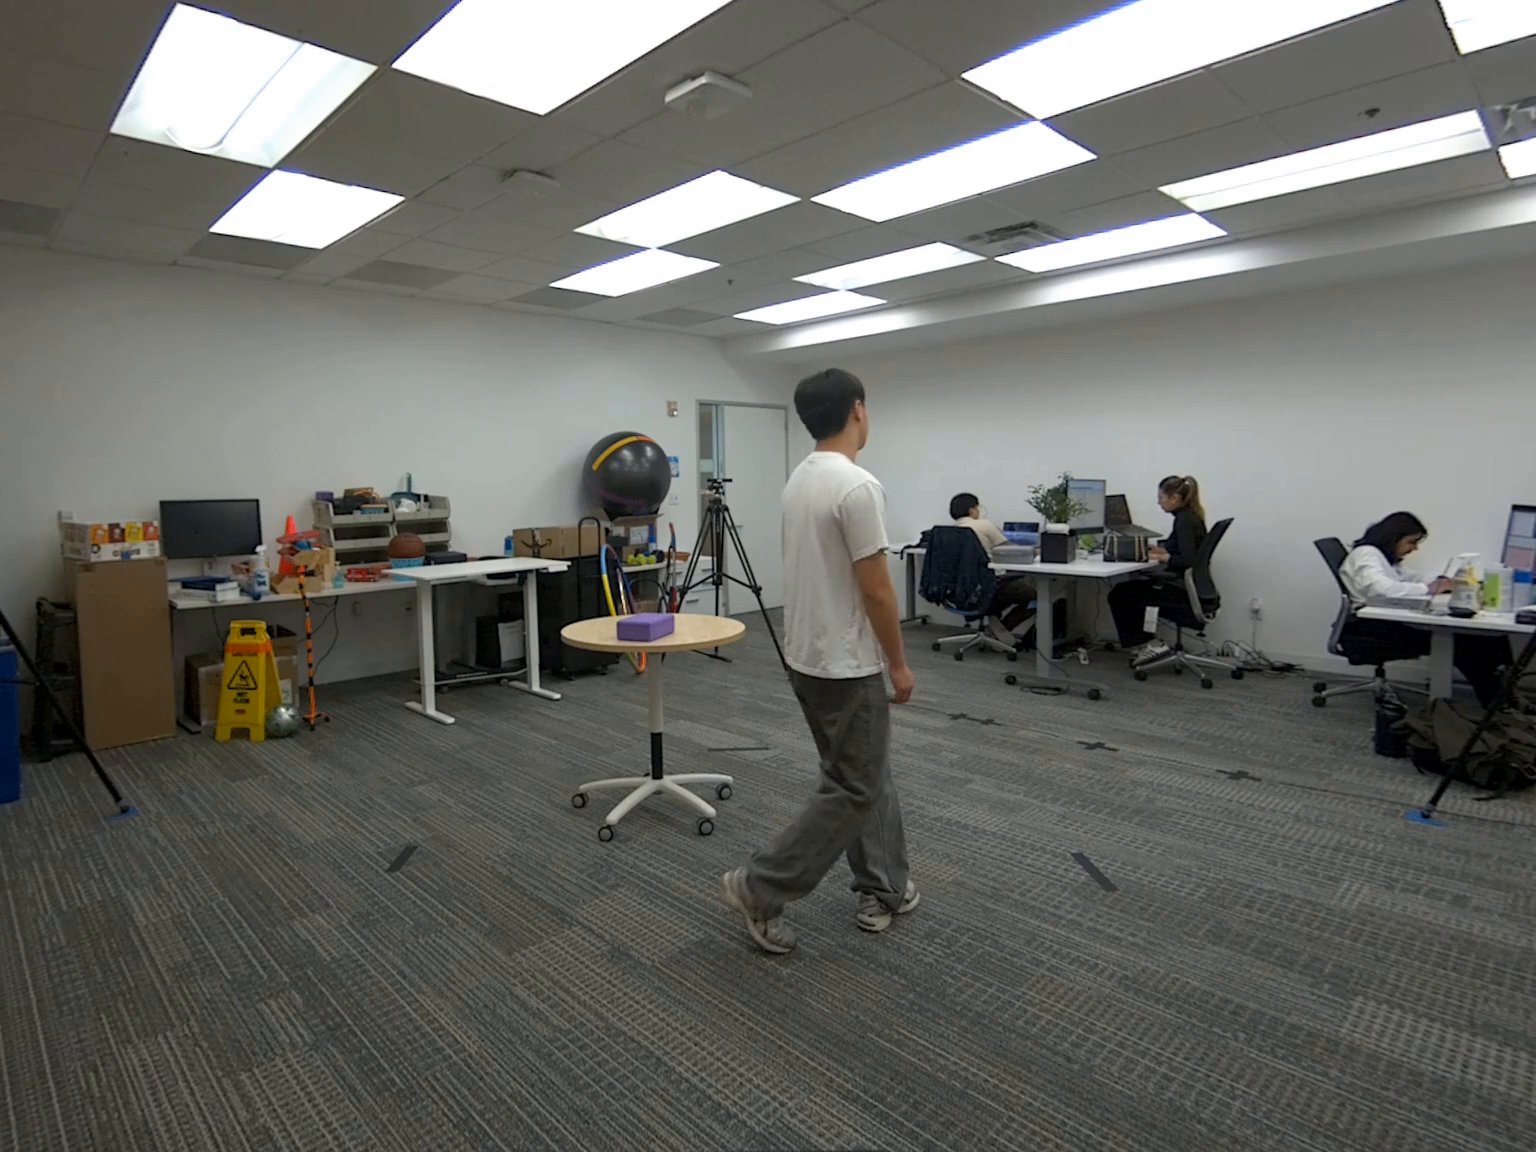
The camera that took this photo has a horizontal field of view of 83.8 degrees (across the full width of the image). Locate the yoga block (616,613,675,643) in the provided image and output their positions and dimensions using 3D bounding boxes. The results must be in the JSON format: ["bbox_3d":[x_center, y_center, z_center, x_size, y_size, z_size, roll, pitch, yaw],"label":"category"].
[{"bbox_3d":[-0.482,0.200,3.394,0.152,0.076,0.226,1,6,19],"label":"yoga block"}]
